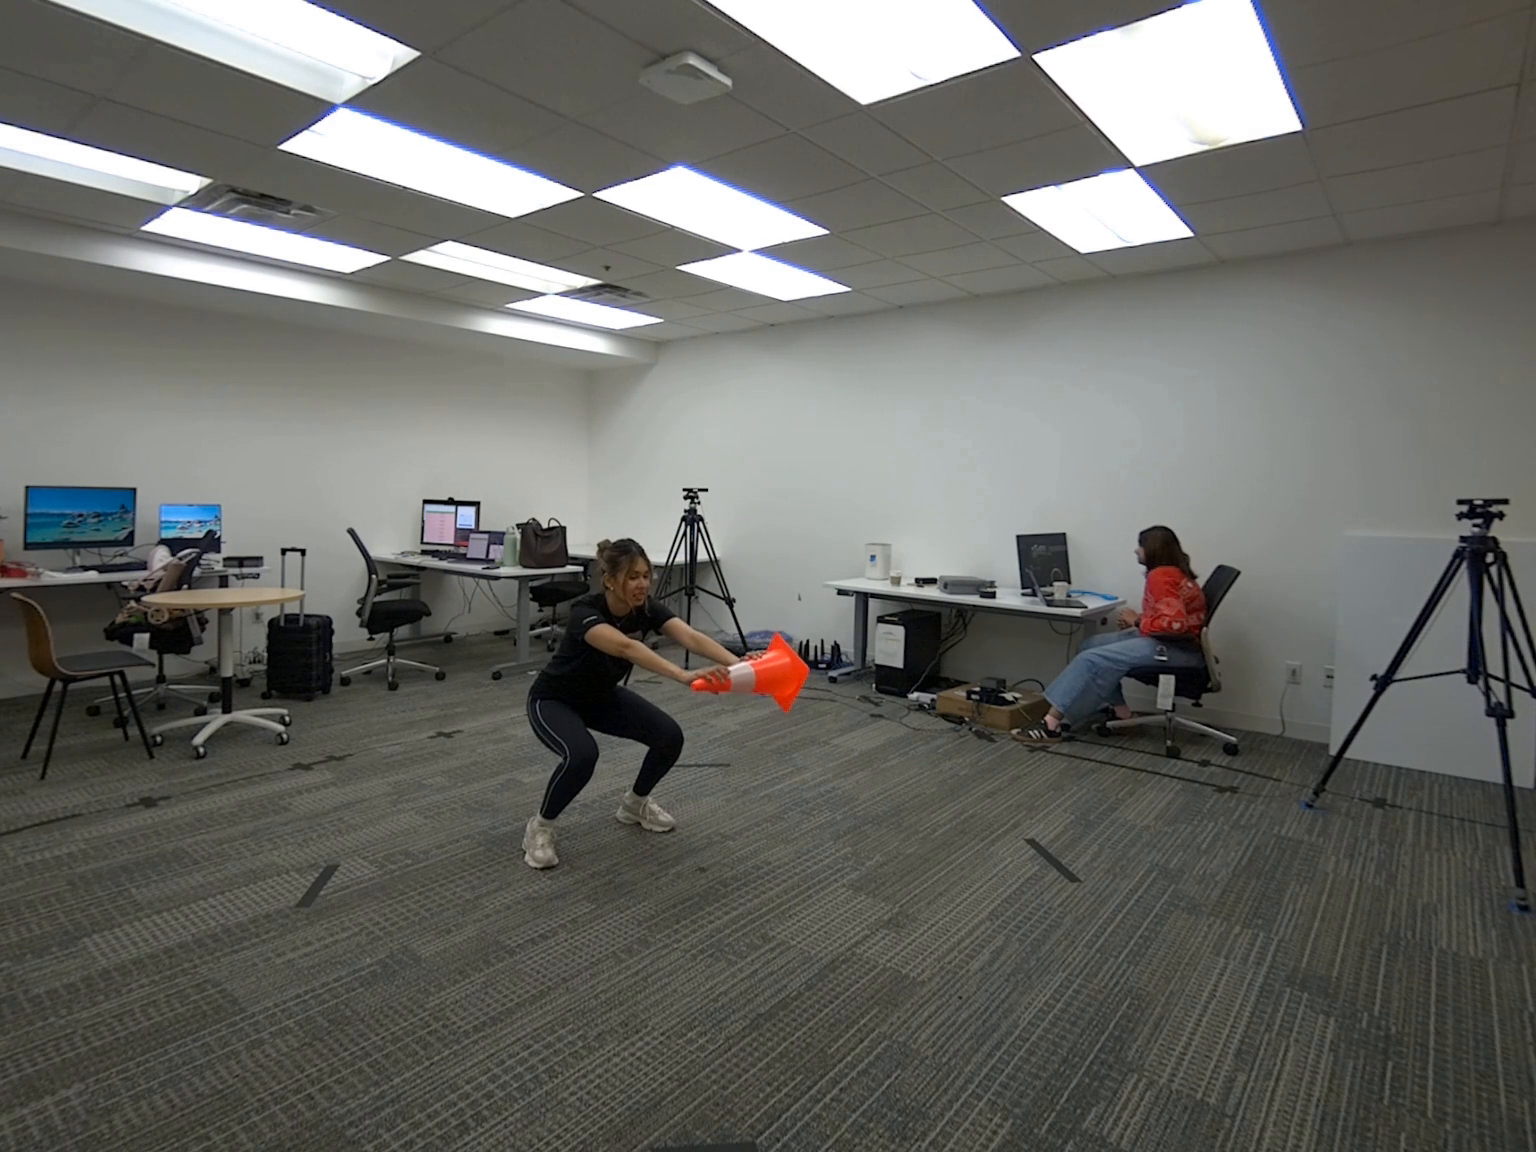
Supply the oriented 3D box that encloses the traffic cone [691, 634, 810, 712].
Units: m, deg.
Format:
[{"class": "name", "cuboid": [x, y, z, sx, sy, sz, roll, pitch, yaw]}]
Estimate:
[{"class": "traffic cone", "cuboid": [-0.106, 0.340, 2.777, 0.372, 0.202, 0.212, -4, 37, -38]}]
